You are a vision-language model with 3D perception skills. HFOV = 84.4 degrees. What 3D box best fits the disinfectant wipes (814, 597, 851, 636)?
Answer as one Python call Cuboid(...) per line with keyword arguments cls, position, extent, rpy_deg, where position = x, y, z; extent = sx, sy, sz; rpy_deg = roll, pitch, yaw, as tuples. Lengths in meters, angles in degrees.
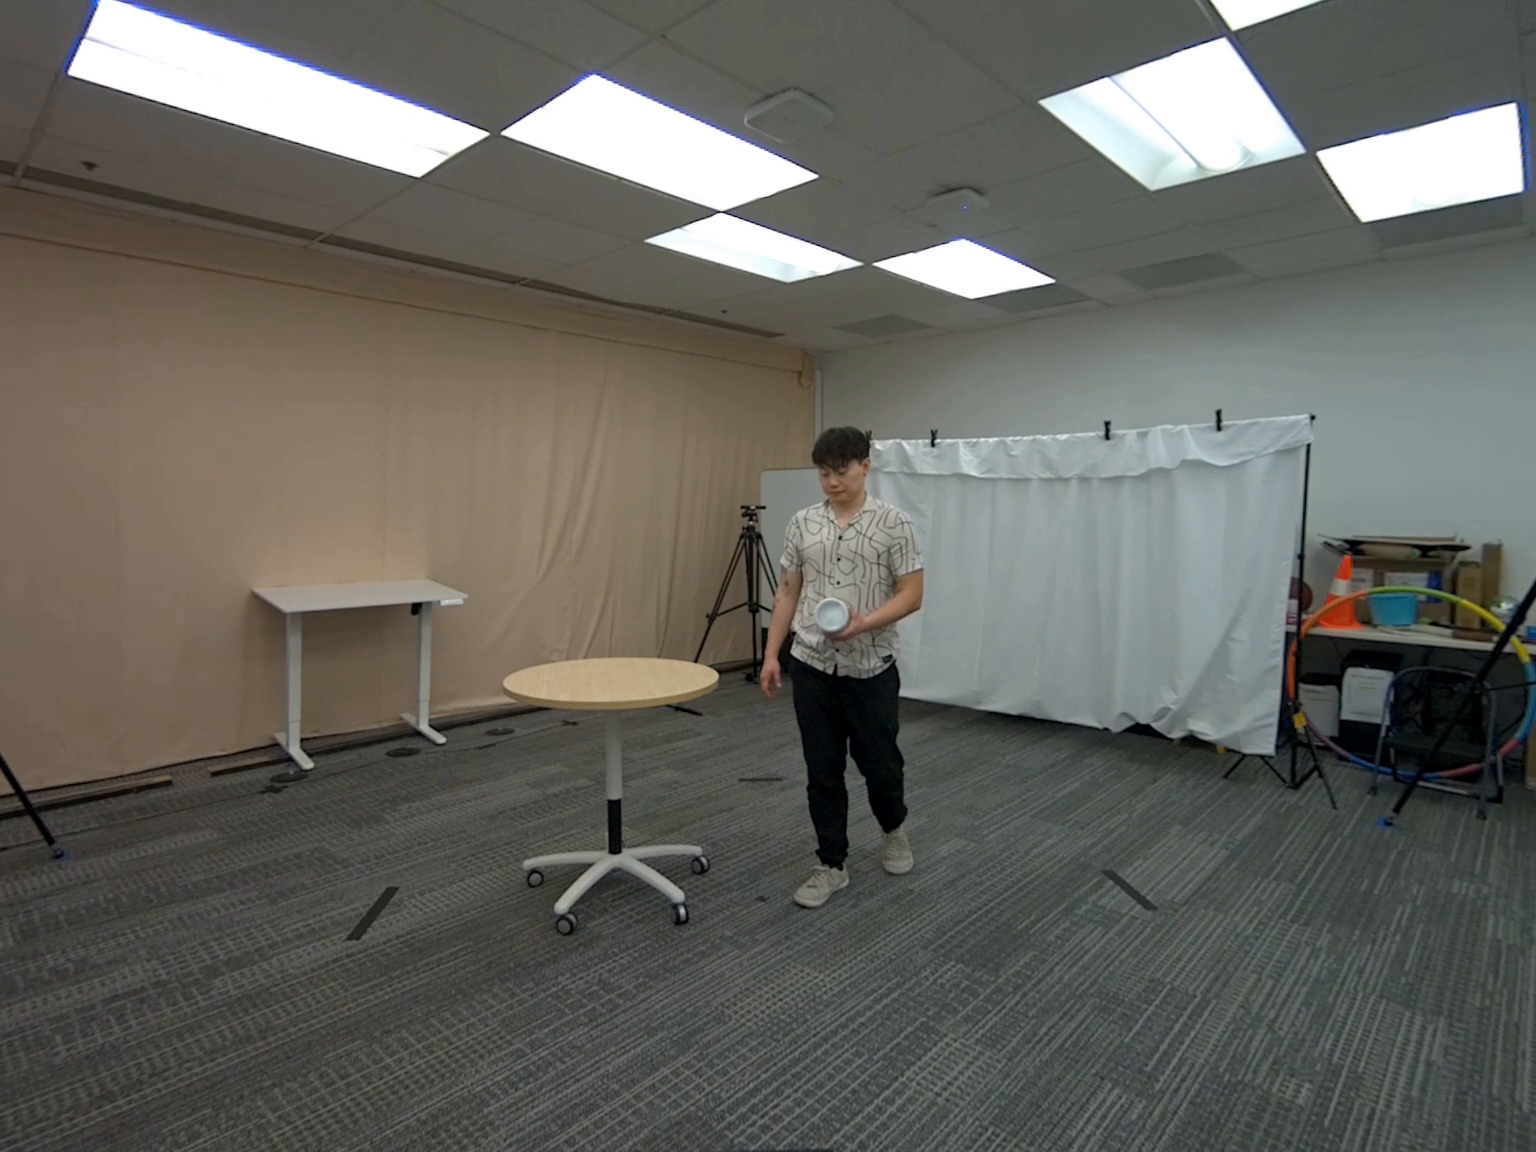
Cuboid(cls="disinfectant wipes", position=(0.213, 0.140, 2.764), extent=(0.118, 0.118, 0.215), rpy_deg=(1, -8, 4))
